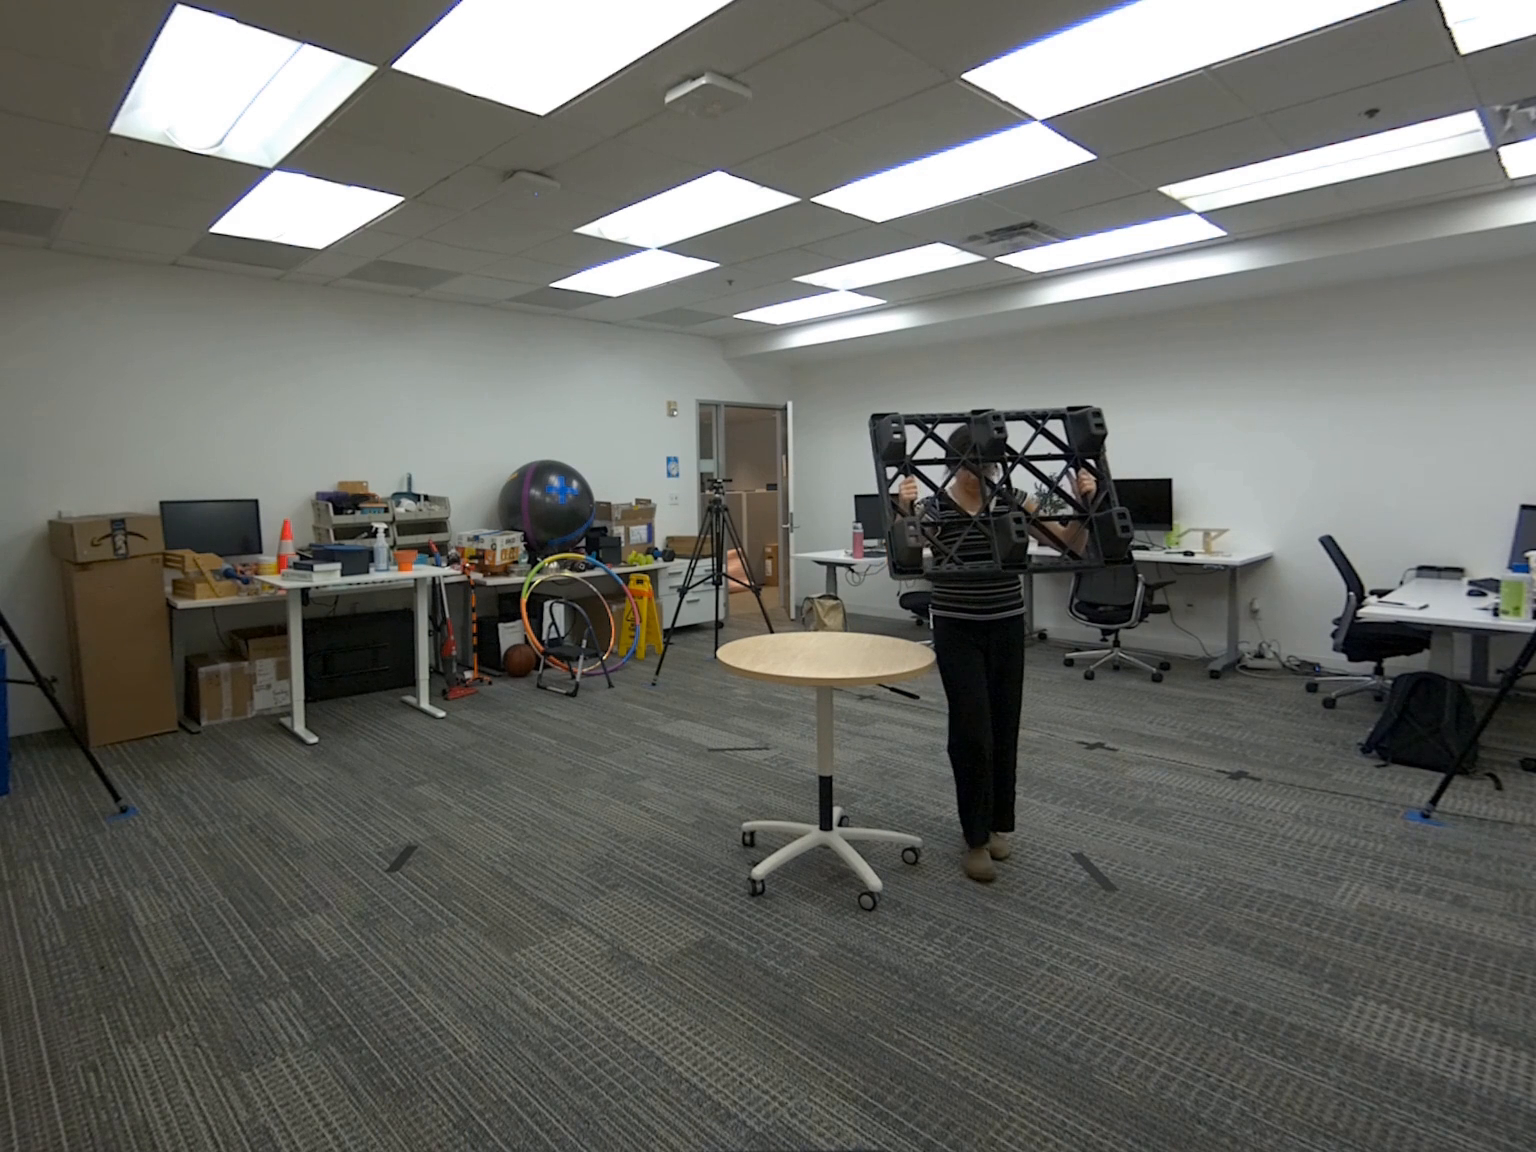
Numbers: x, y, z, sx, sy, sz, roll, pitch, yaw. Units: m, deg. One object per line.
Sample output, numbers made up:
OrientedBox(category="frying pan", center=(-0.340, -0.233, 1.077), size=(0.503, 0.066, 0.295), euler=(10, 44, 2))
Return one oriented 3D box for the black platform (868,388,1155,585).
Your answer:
OrientedBox(category="black platform", center=(0.778, -0.302, 2.830), size=(0.804, 0.616, 0.141), euler=(-3, -19, -2))
